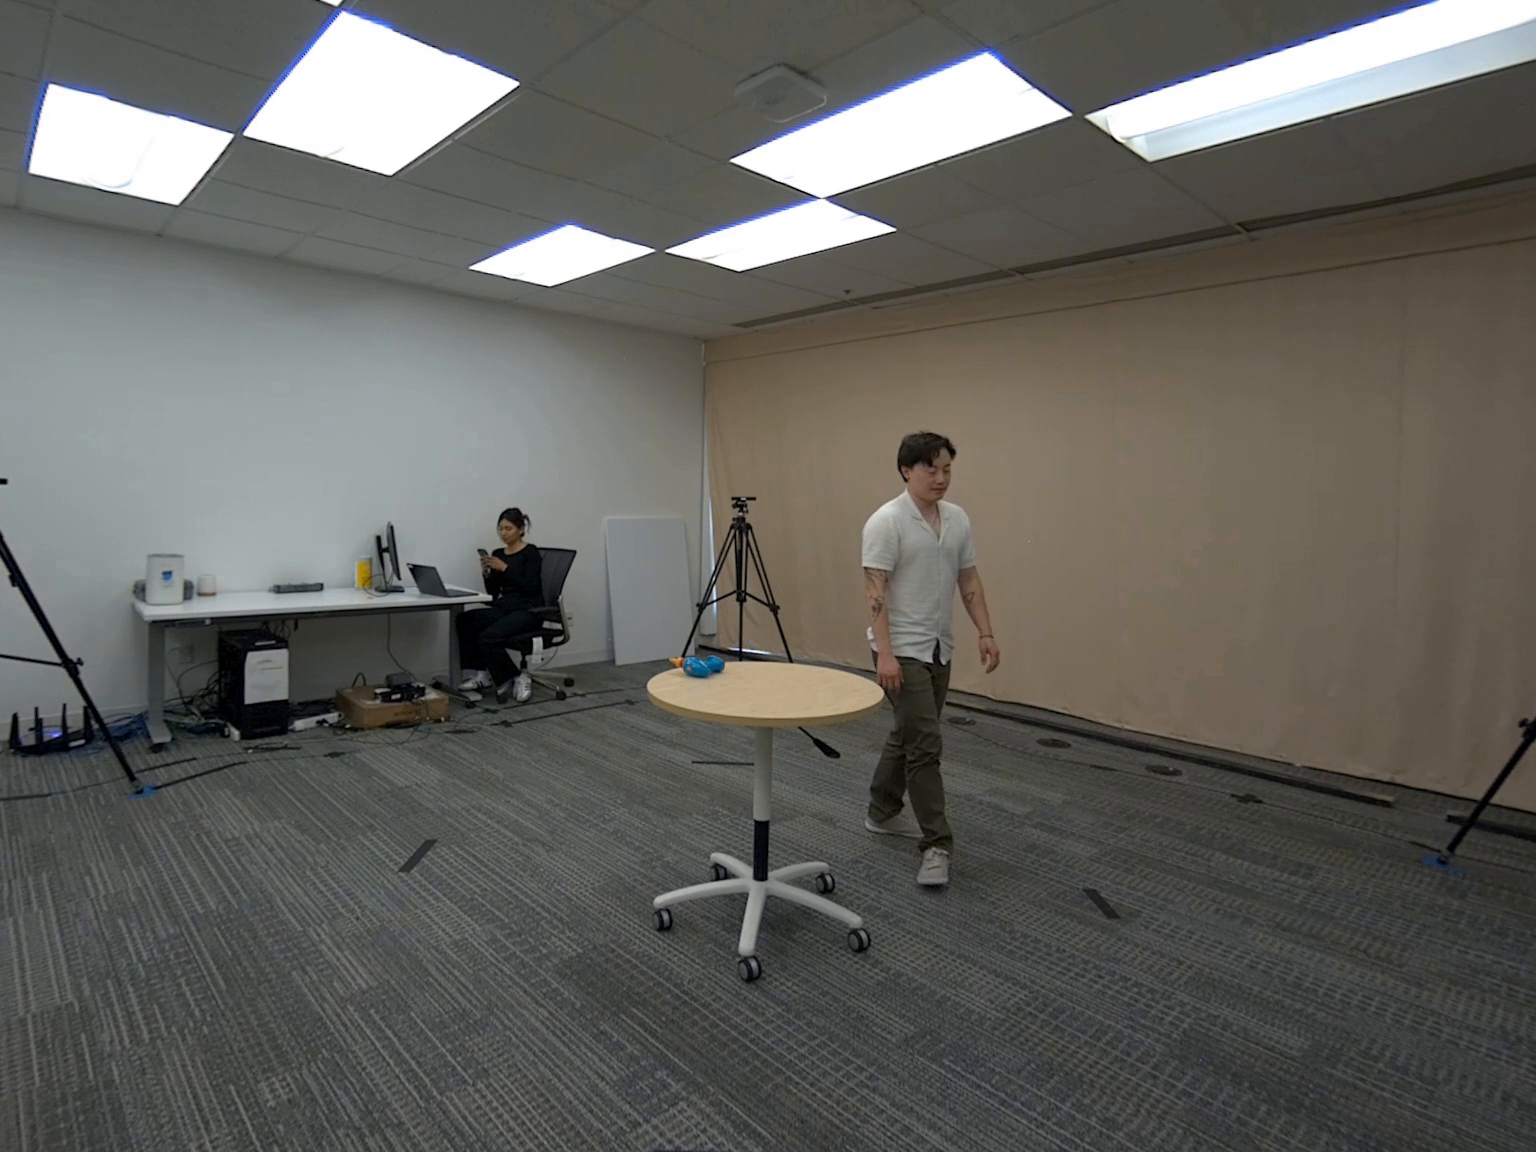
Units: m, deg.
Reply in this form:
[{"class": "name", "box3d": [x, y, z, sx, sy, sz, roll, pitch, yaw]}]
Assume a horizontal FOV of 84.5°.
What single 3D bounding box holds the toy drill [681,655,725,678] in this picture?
[{"class": "toy drill", "box3d": [-0.255, 0.307, 2.899, 0.174, 0.061, 0.143, 12, 8, 29]}]
